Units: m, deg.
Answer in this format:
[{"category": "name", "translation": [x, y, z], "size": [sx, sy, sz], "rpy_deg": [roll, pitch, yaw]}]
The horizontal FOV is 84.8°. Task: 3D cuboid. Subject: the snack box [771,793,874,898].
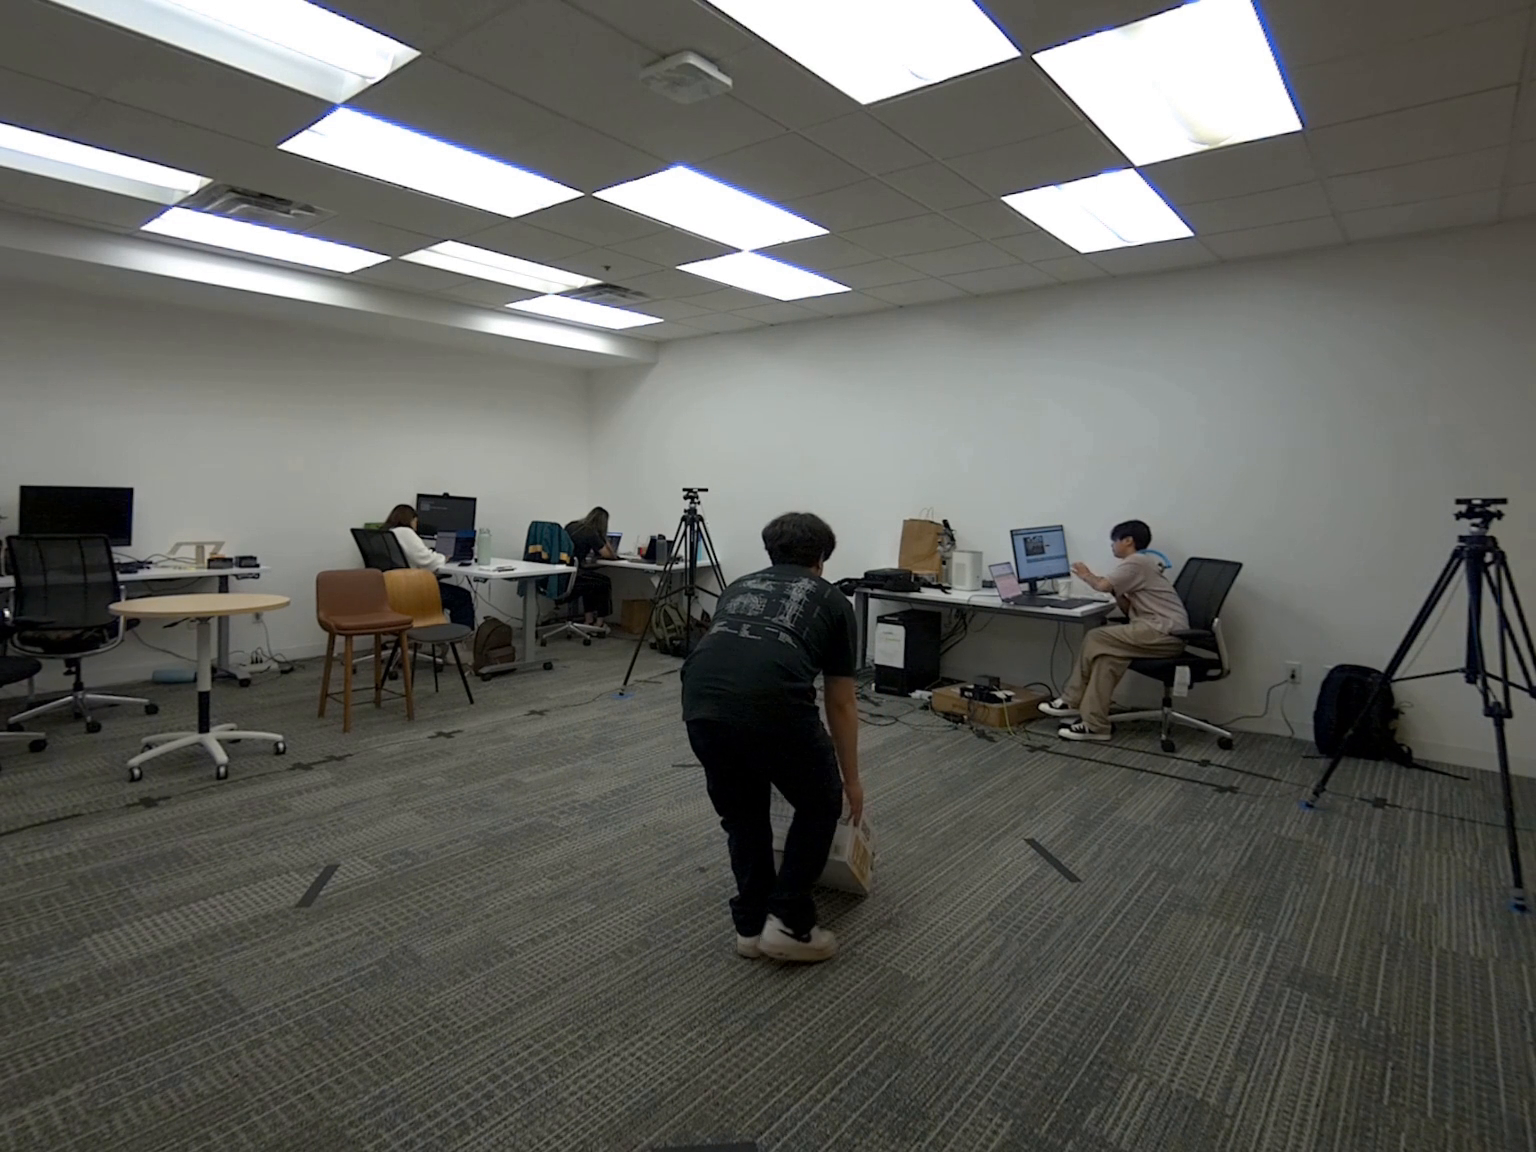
[{"category": "snack box", "translation": [0.155, 0.897, 2.896], "size": [0.348, 0.209, 0.389], "rpy_deg": [2, -32, 22]}]
